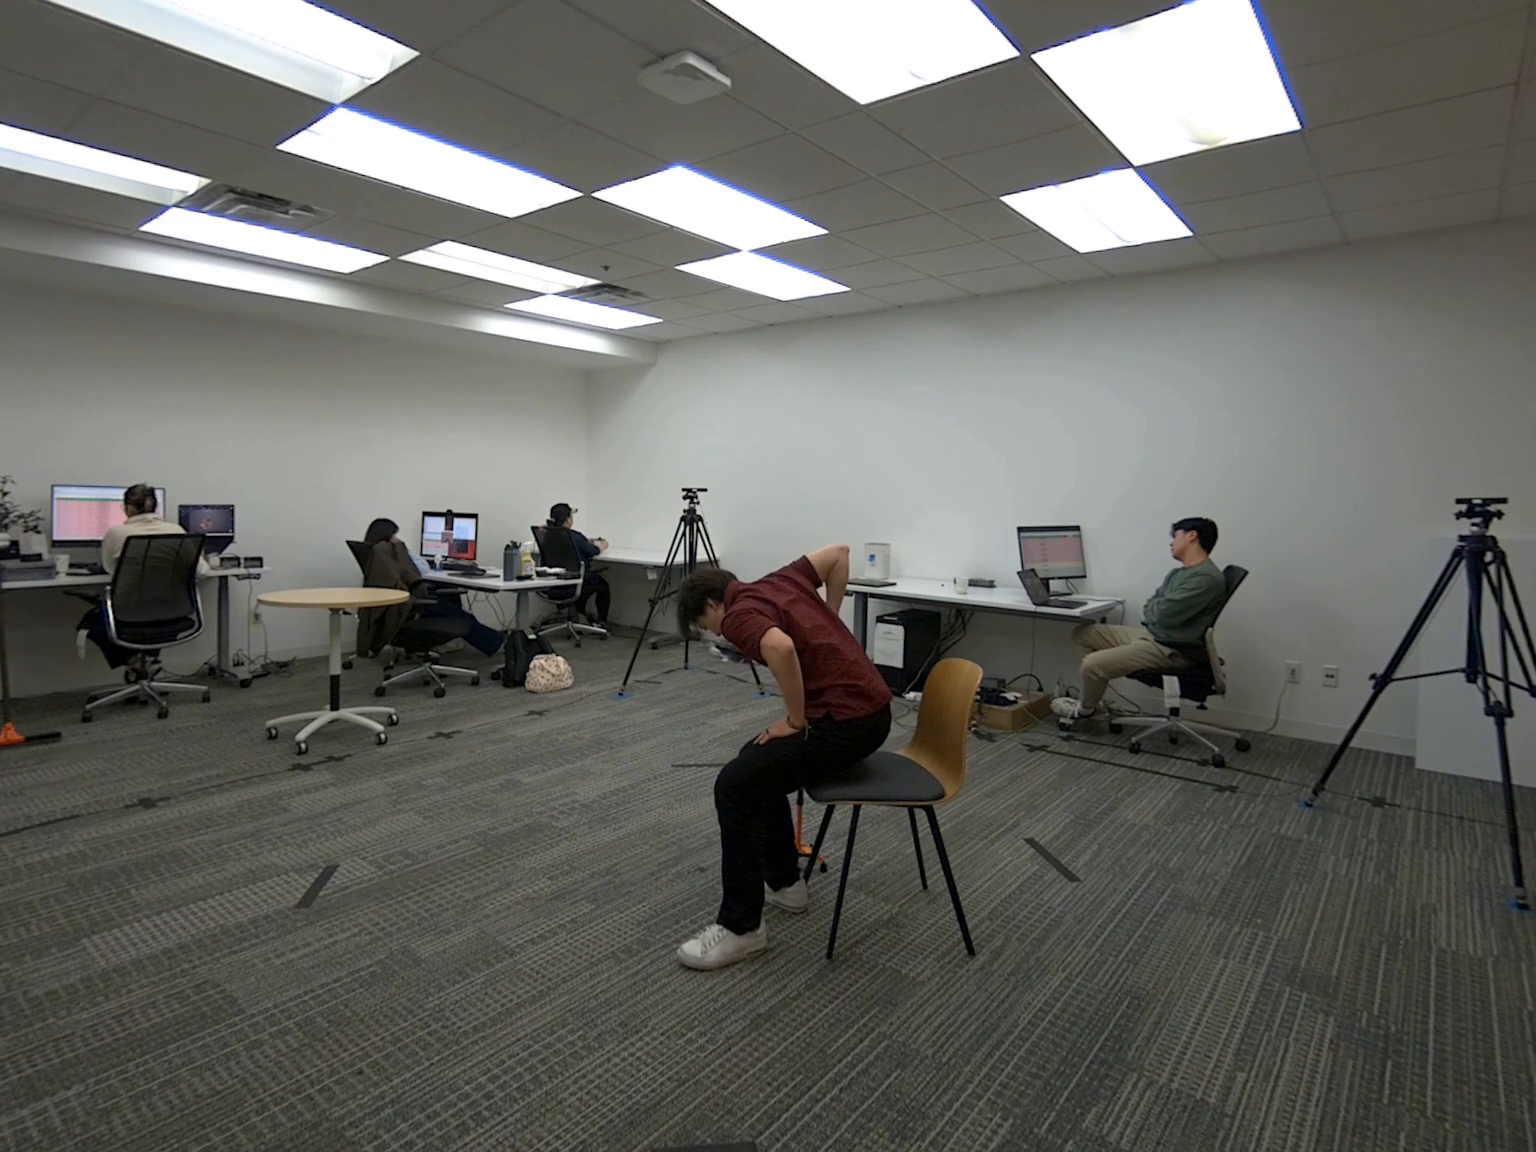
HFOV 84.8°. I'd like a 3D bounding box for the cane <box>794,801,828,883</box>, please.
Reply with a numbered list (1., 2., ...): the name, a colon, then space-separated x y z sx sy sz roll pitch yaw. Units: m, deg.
1. cane: 0.116 0.626 3.139 0.204 0.906 0.154 1 2 -12
